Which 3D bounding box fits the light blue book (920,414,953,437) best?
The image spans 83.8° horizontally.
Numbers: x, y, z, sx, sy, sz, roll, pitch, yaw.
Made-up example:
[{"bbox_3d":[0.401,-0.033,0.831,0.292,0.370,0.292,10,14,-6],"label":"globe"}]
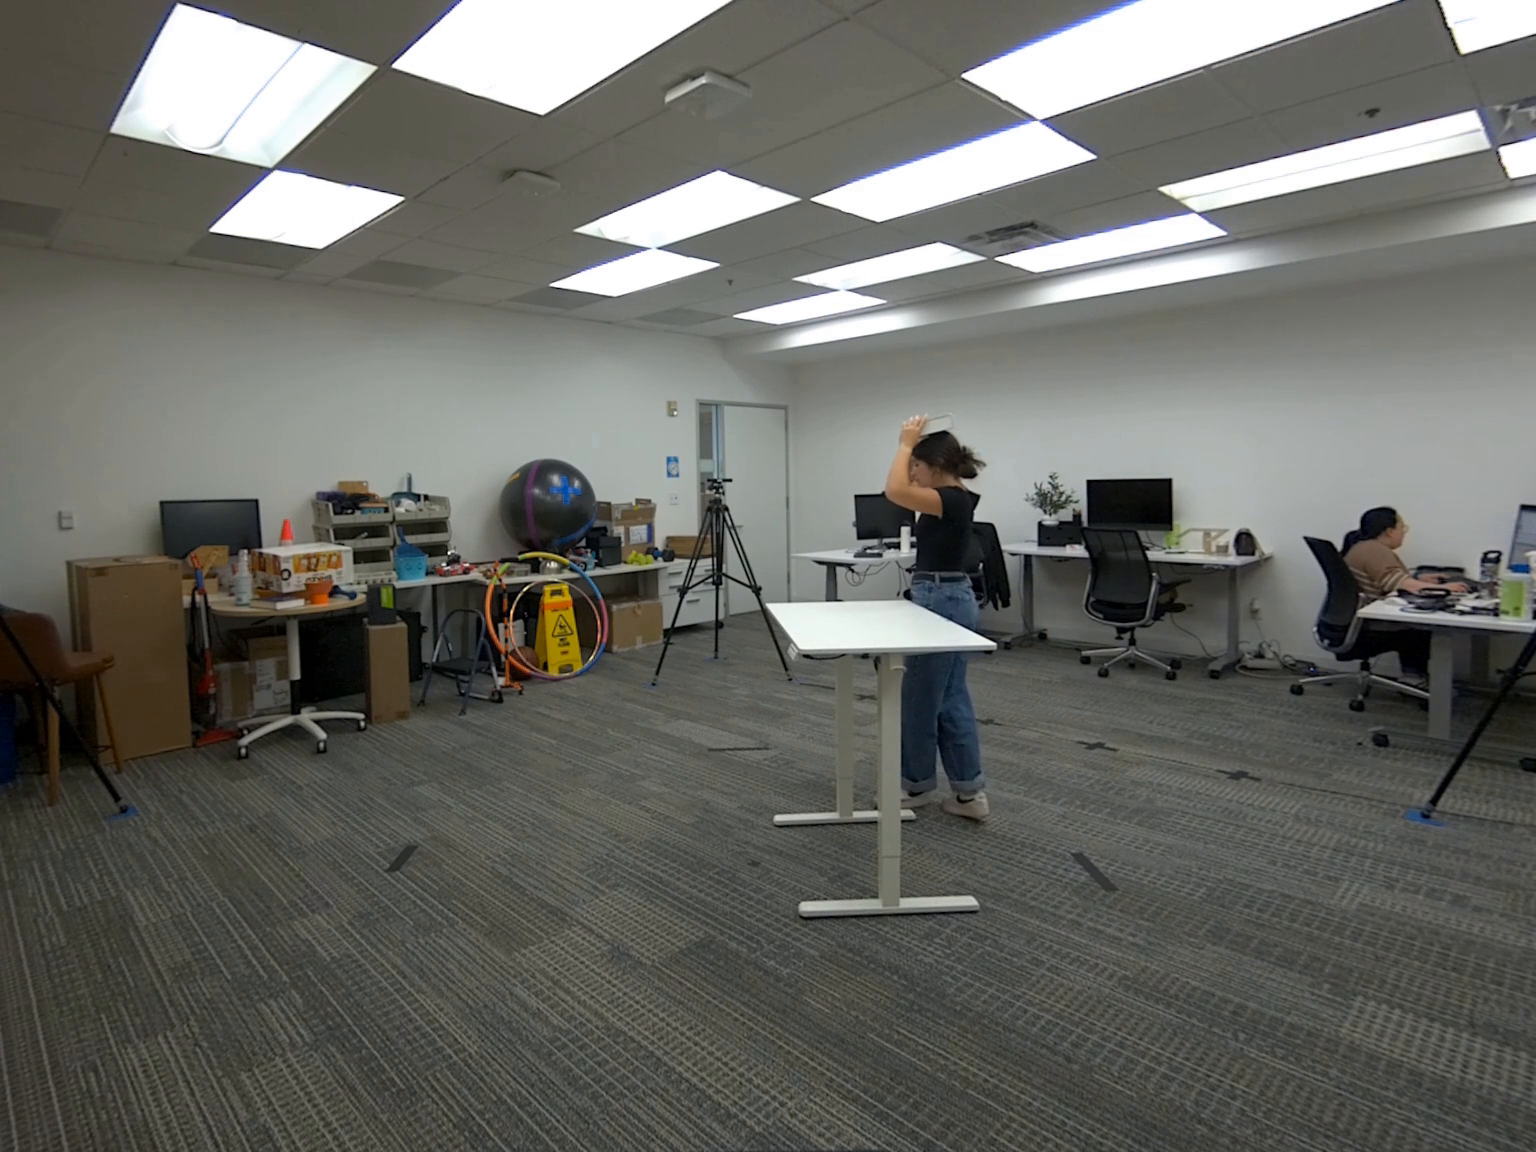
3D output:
[{"bbox_3d":[0.672,-0.614,3.490,0.194,0.058,0.259,-8,8,14],"label":"light blue book"}]
